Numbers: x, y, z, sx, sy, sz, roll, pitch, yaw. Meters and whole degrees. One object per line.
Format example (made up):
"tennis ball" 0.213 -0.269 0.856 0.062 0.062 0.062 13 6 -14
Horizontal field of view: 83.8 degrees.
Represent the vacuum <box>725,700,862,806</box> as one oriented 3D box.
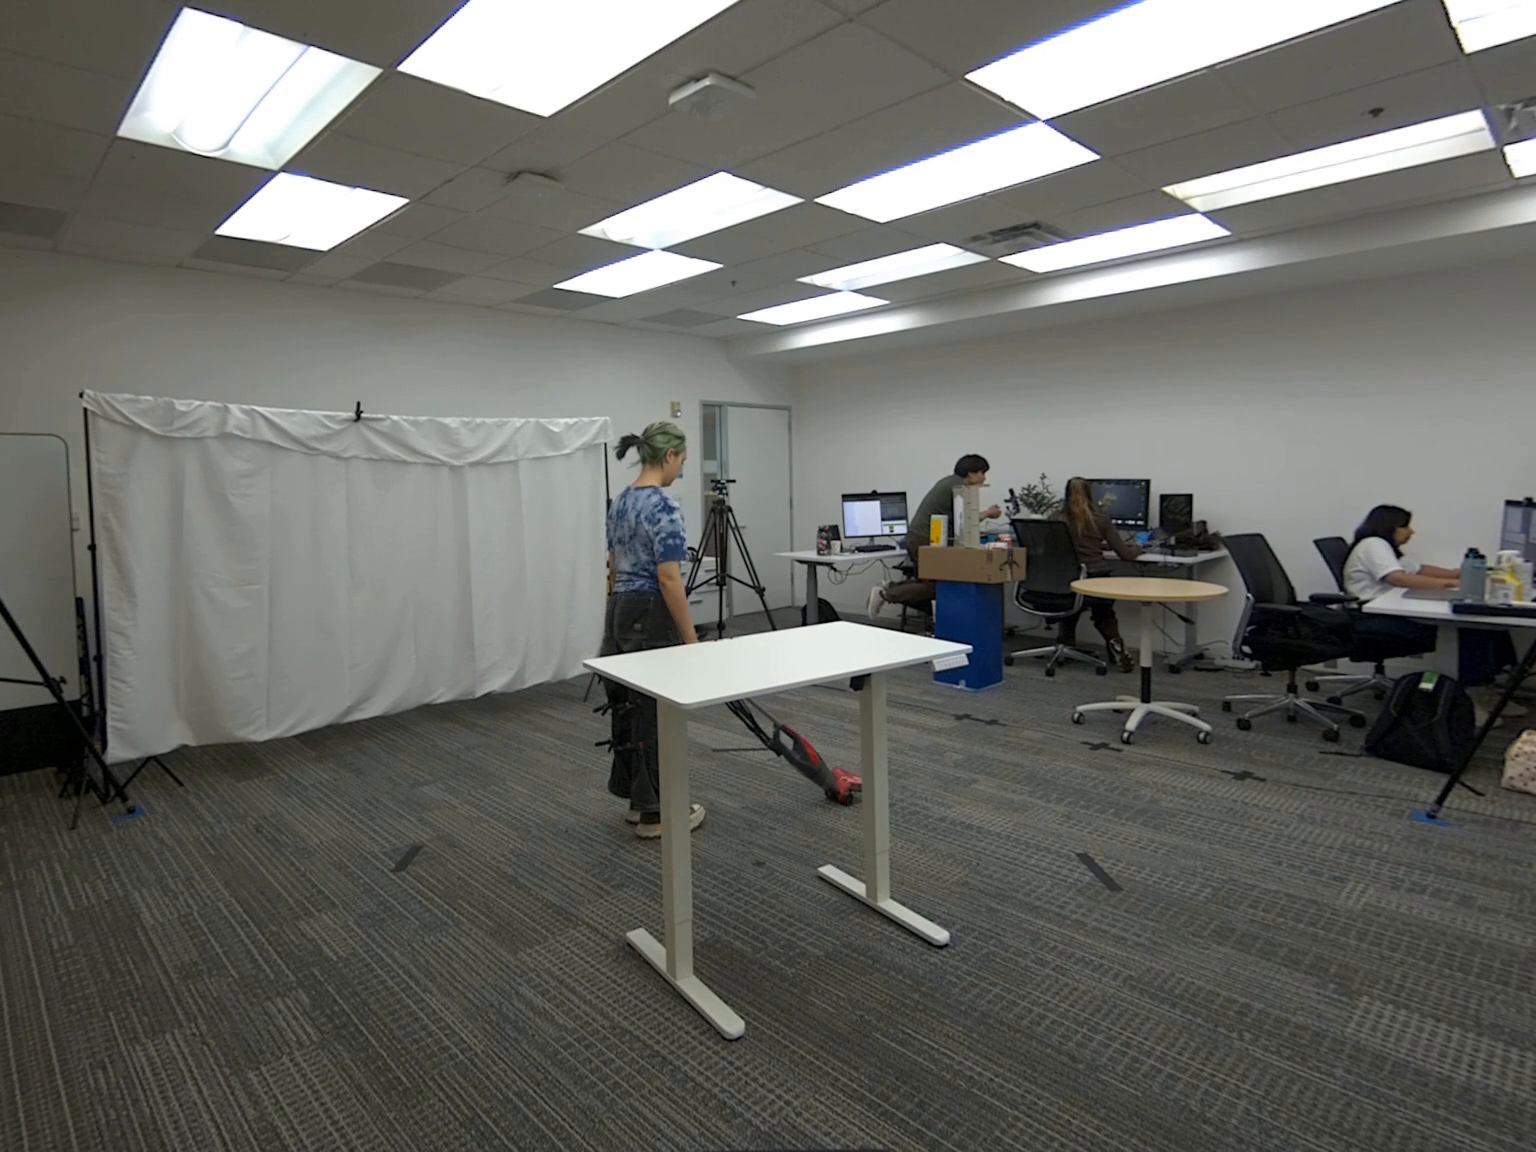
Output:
"vacuum" 0.026 0.647 3.493 1.014 0.145 0.260 41 -21 -30
